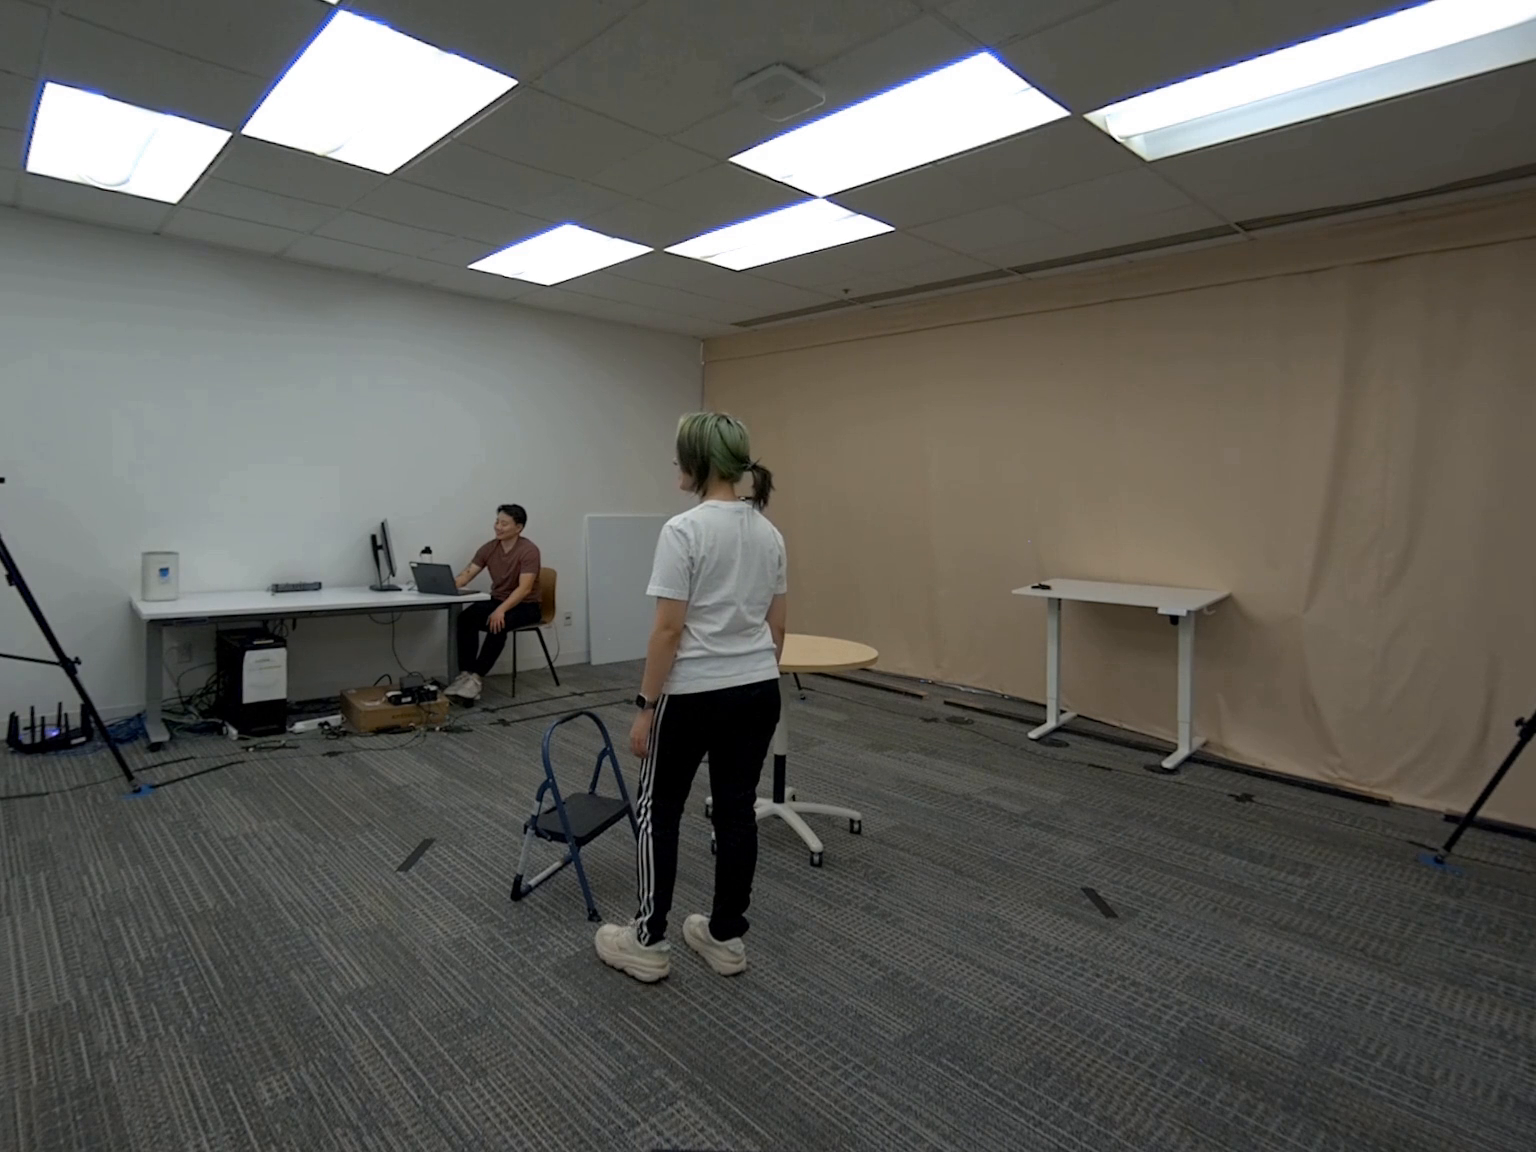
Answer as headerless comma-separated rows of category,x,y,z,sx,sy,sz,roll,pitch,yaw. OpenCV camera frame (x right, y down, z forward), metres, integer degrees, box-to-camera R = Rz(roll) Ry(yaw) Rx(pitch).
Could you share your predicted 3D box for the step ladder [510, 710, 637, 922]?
step ladder,-0.651,0.802,2.983,0.355,0.604,0.425,3,4,19
